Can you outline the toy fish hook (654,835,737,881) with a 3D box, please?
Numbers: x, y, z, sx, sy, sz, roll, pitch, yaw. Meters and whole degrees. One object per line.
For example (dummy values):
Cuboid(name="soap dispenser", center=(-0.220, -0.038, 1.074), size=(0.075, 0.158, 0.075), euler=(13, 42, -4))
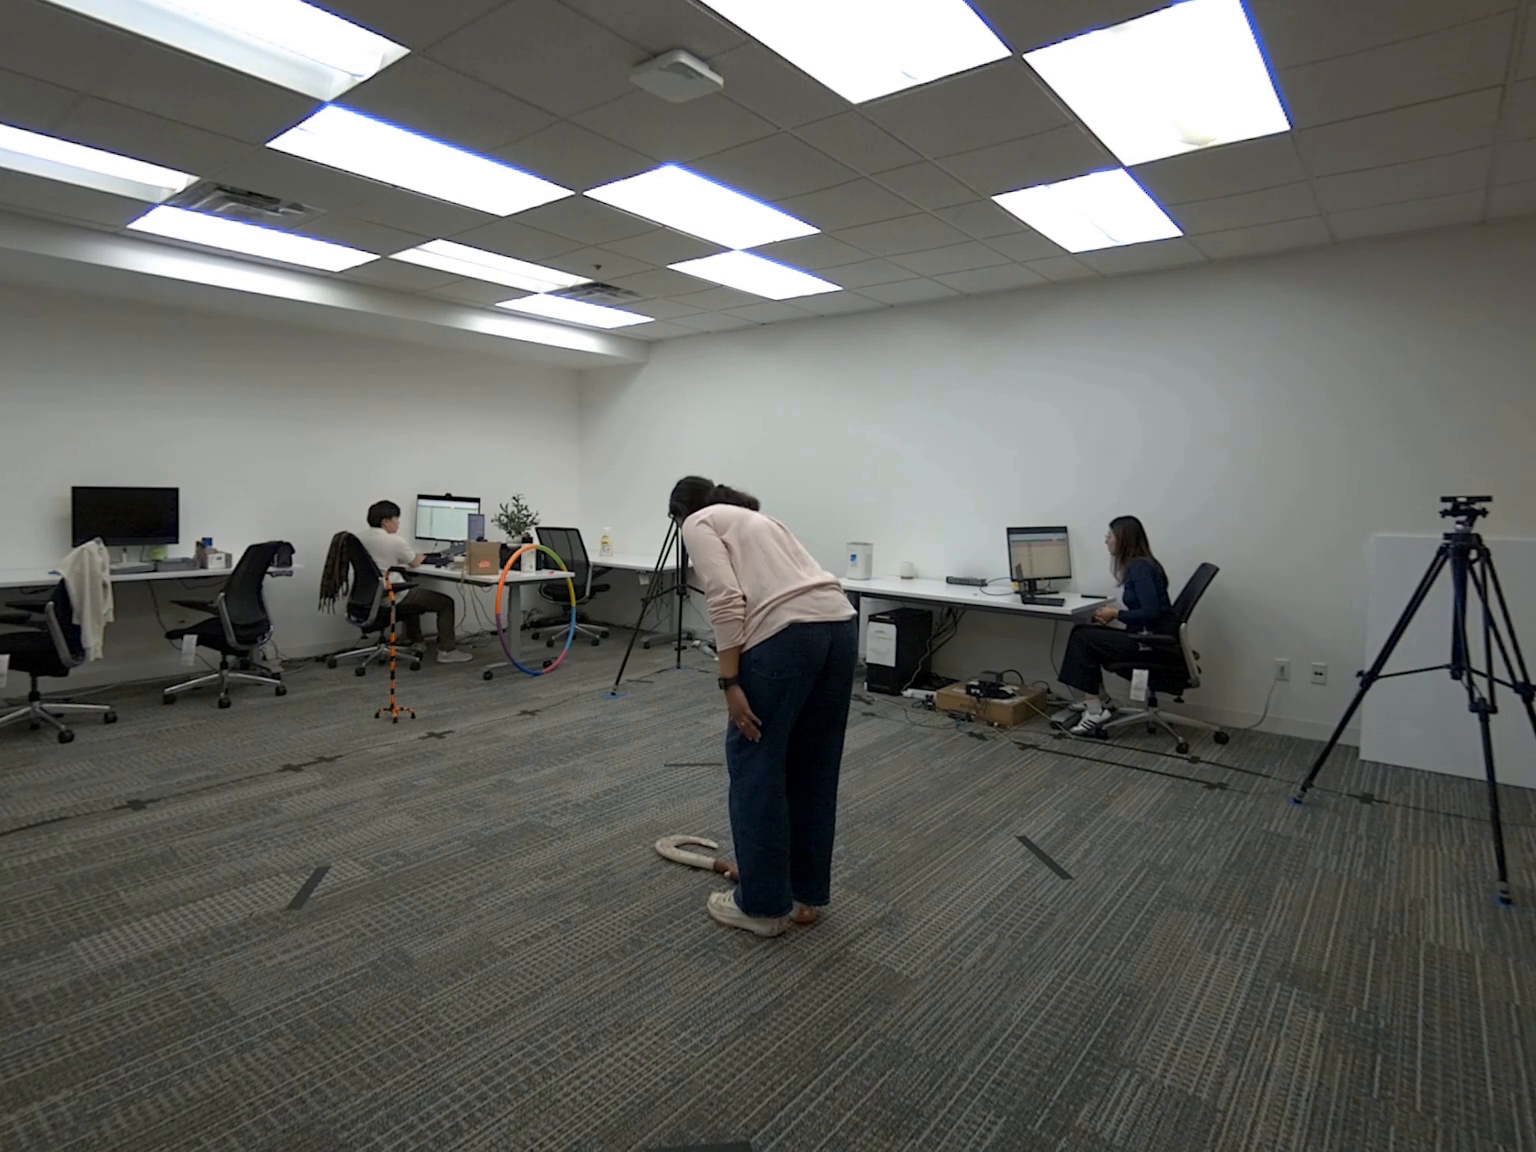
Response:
Cuboid(name="toy fish hook", center=(-0.210, 1.039, 3.154), size=(0.524, 0.048, 0.218), euler=(6, 9, 41))
